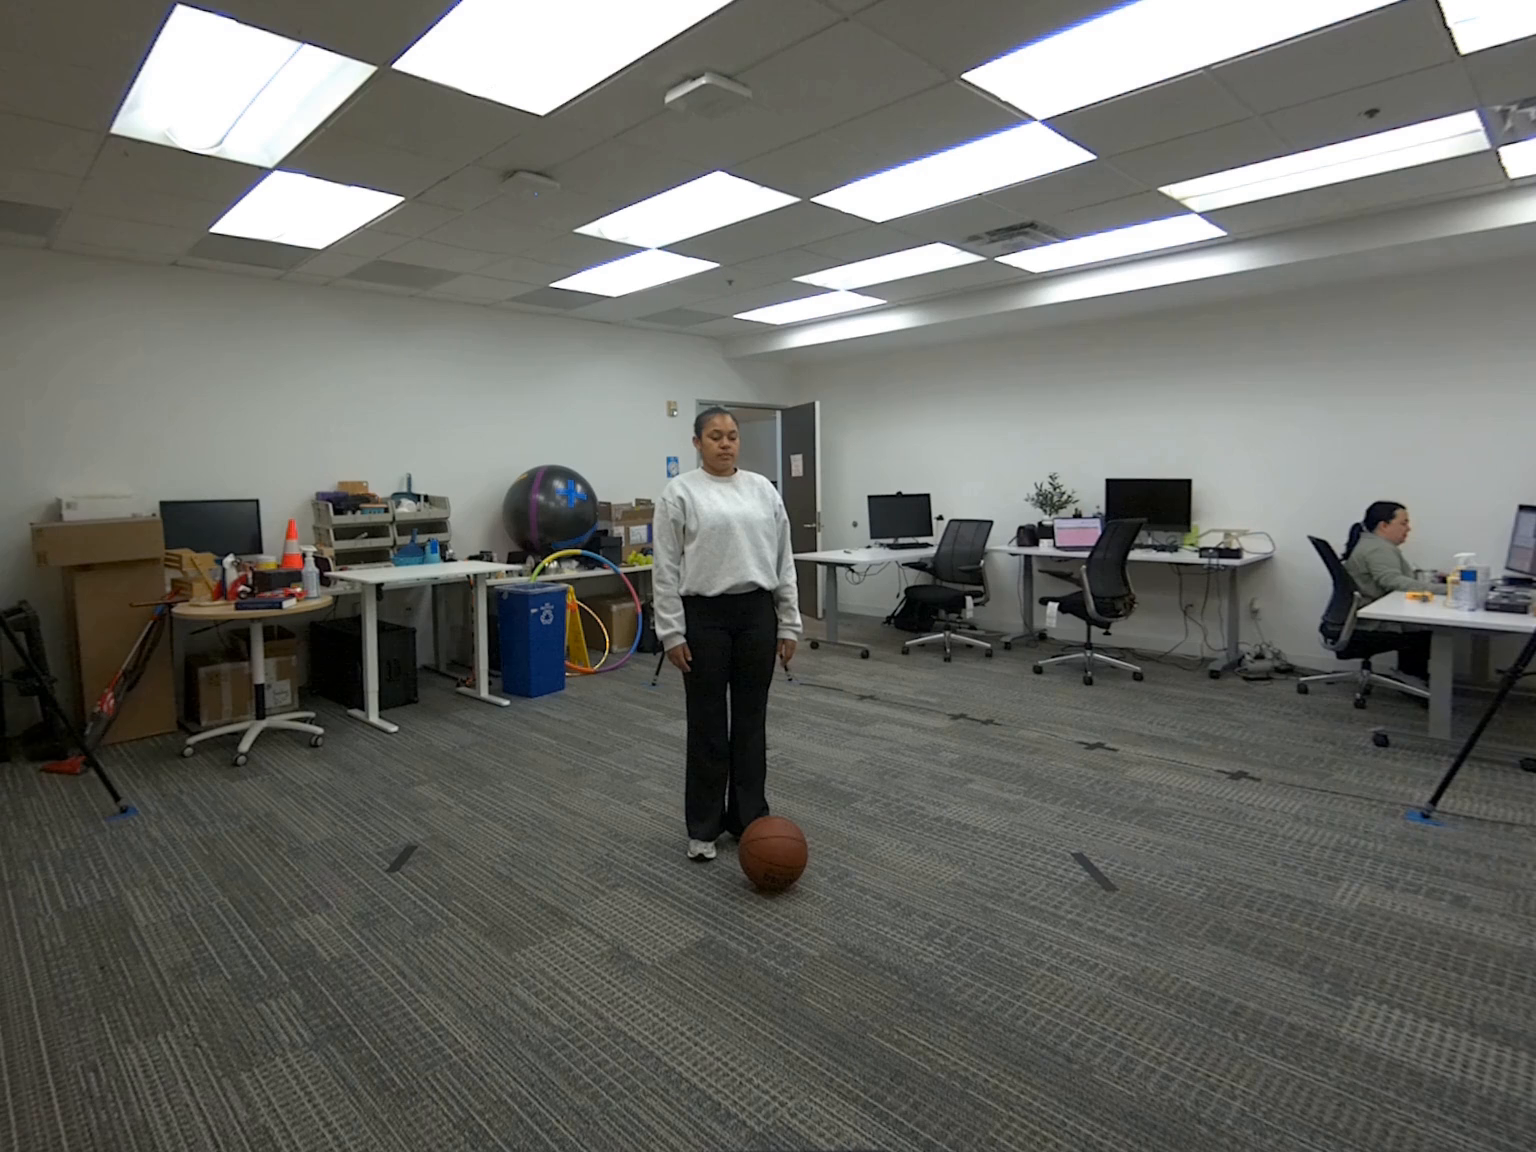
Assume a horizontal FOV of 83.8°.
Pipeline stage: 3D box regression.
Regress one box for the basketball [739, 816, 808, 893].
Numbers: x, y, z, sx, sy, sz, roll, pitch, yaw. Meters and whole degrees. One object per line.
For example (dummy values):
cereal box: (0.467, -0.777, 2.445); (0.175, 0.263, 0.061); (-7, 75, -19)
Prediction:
basketball: (0.020, 0.943, 2.926); (0.236, 0.235, 0.237); (-1, 5, -2)
